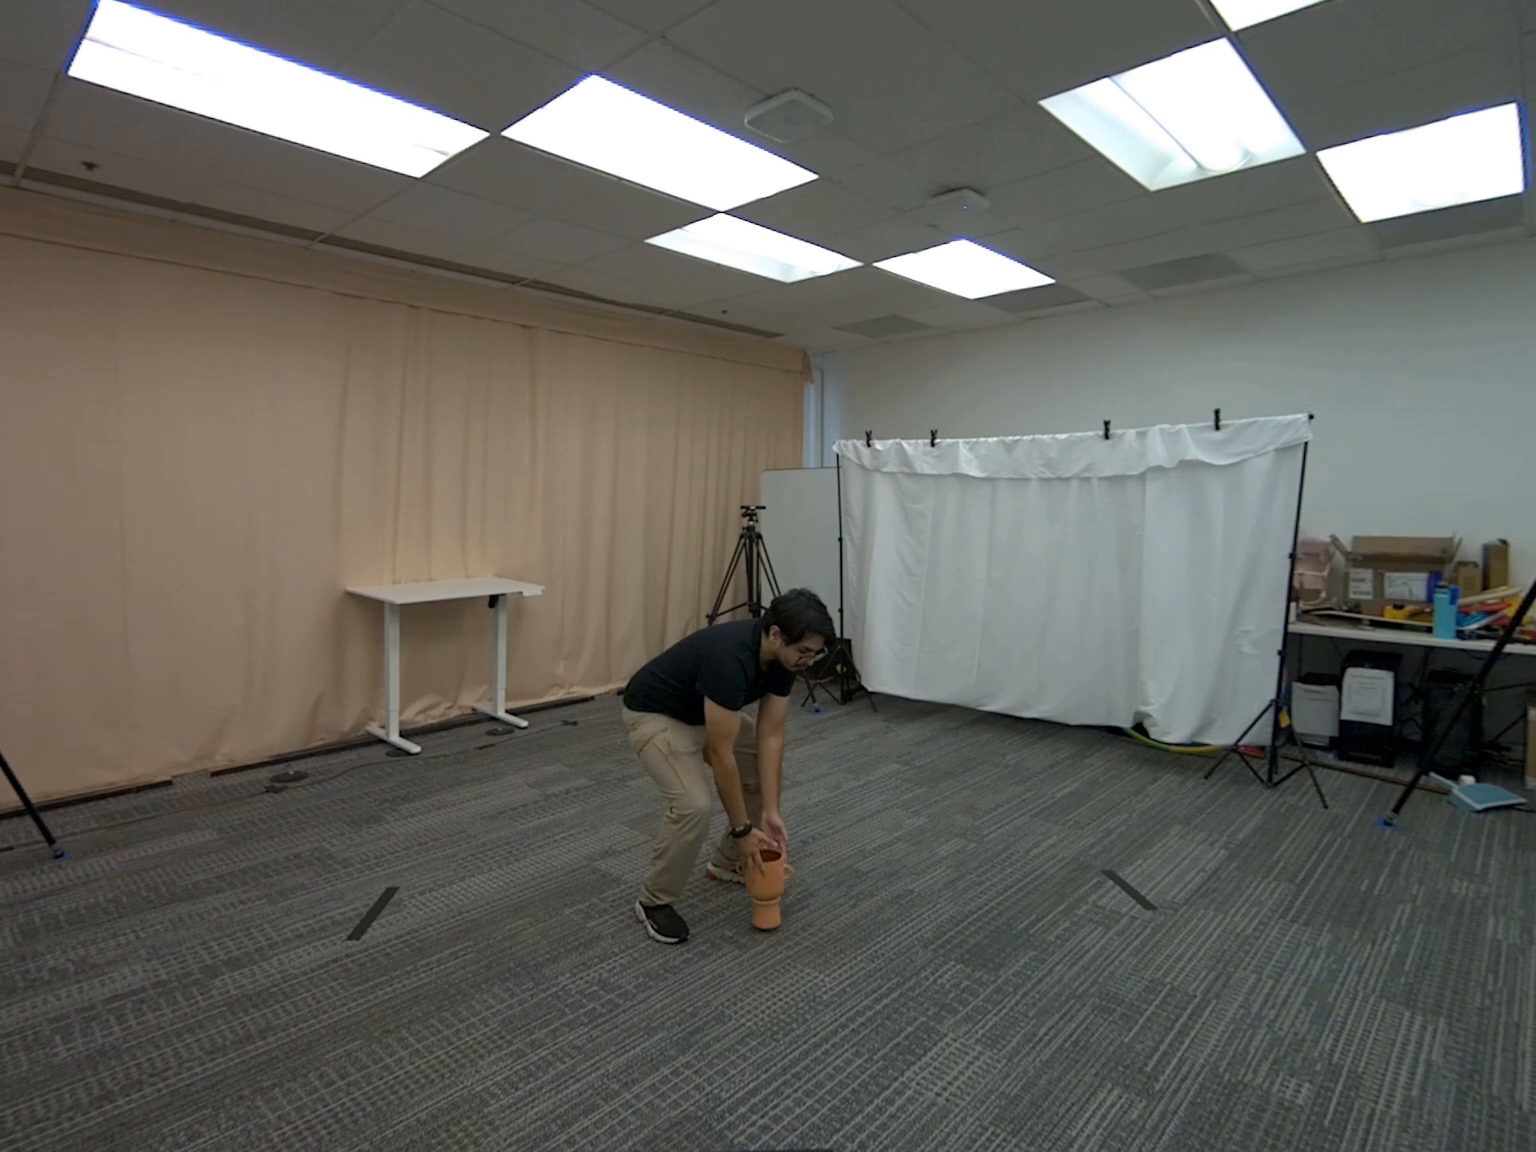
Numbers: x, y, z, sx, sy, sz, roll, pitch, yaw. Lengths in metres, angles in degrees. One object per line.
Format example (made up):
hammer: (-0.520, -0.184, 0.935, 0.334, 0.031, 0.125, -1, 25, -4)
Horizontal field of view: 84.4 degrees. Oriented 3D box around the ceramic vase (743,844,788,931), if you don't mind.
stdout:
ceramic vase: (-0.005, 1.018, 2.776, 0.130, 0.219, 0.164, -3, 2, -39)
